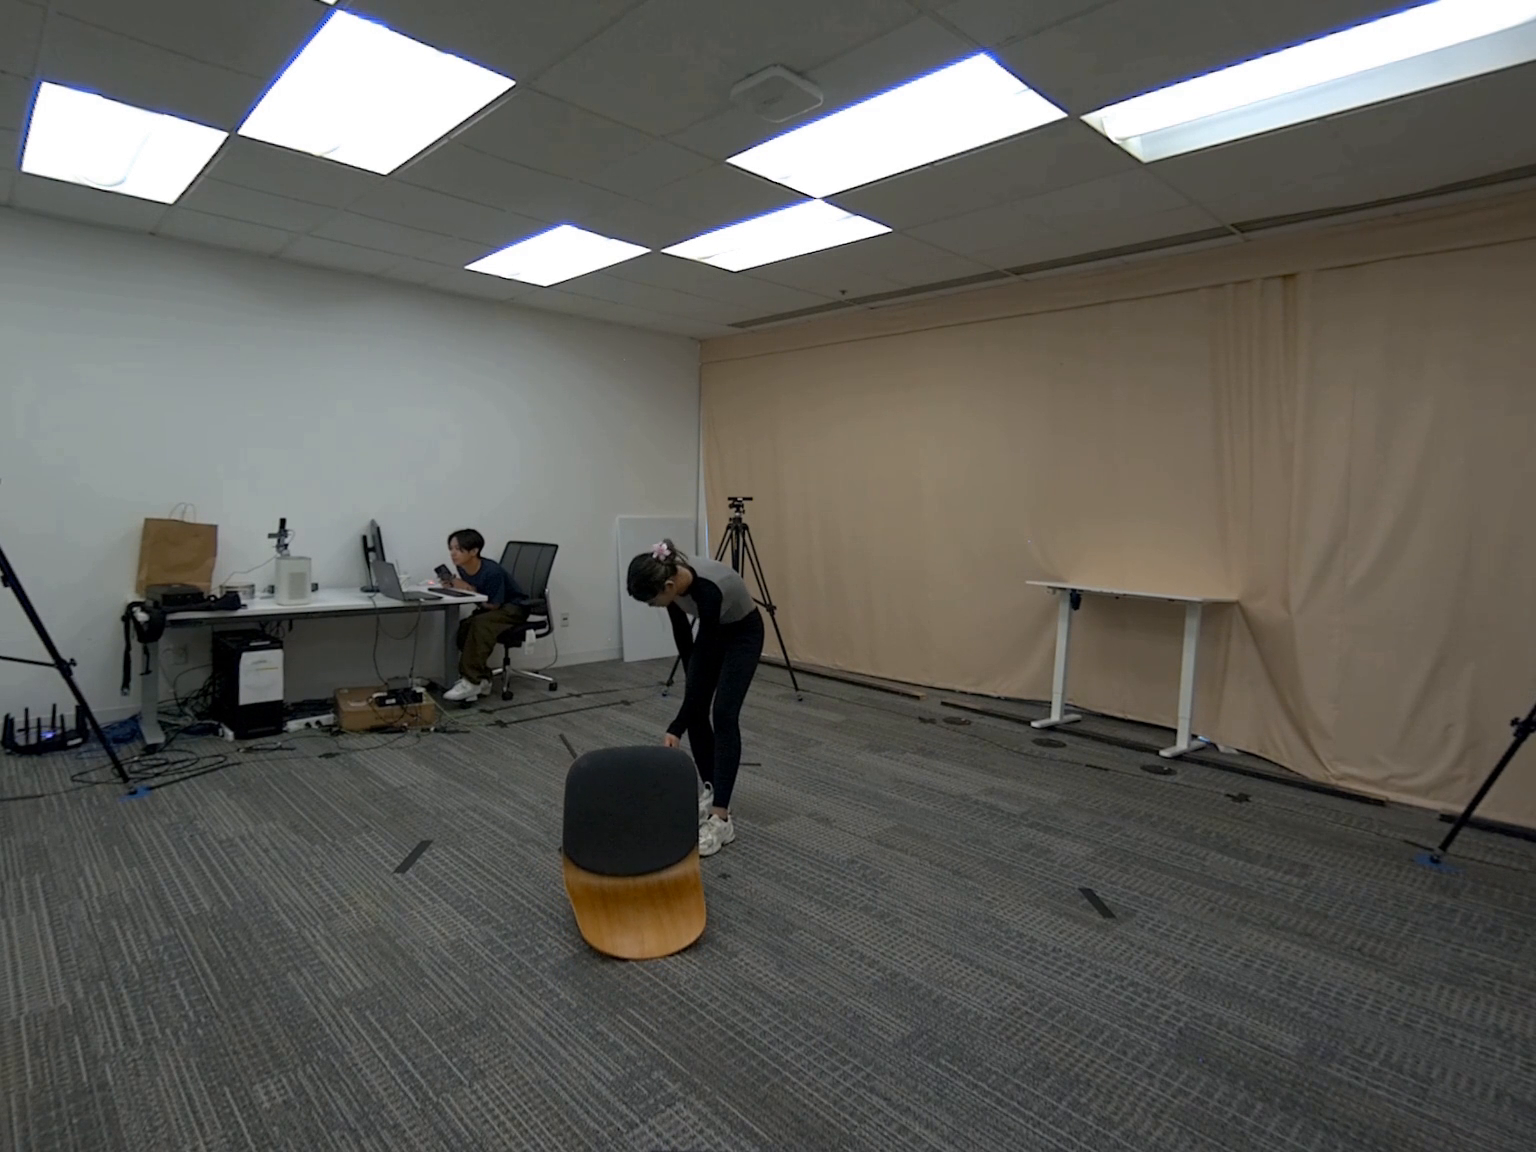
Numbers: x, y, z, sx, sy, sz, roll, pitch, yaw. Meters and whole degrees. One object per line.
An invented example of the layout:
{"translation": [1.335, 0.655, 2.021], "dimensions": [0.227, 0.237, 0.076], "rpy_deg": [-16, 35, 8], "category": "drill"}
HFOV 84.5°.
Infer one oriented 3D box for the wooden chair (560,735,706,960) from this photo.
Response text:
{"translation": [-0.485, 0.852, 2.930], "dimensions": [0.473, 0.521, 0.890], "rpy_deg": [1, 6, -15], "category": "wooden chair"}
